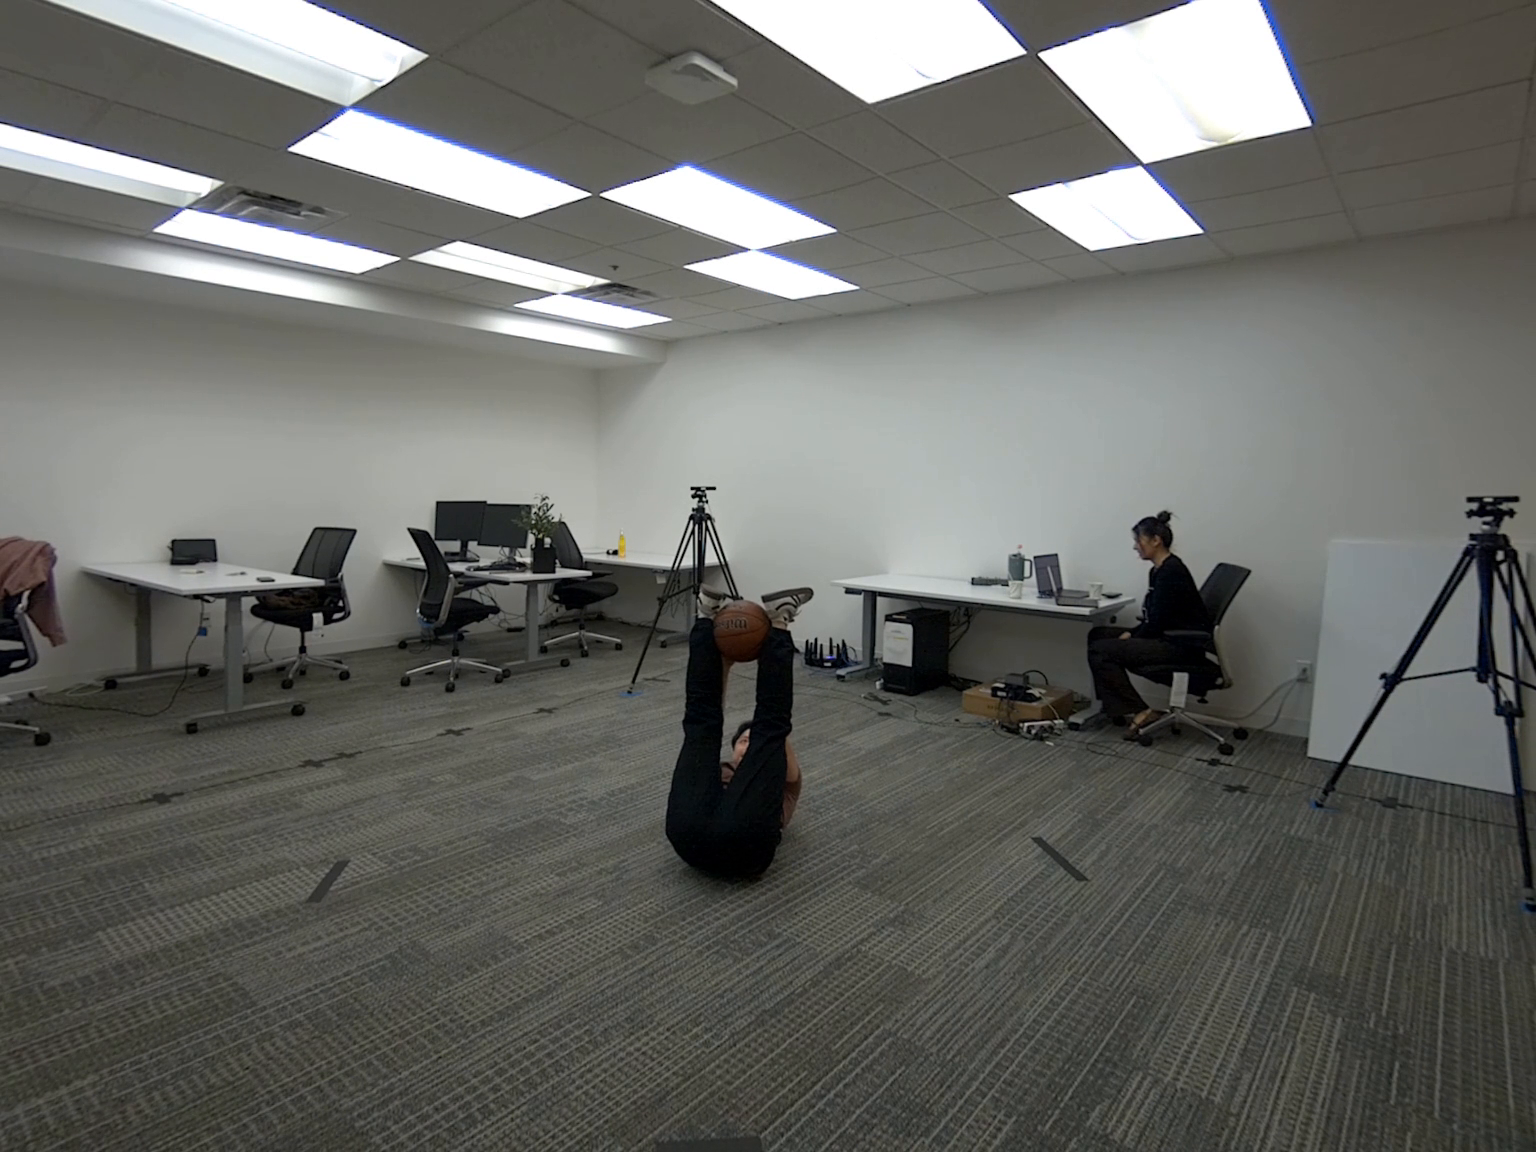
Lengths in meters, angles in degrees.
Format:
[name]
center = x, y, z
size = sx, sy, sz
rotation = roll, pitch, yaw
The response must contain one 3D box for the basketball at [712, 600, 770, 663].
[basketball]
center = -0.109, 0.205, 3.225
size = 0.236, 0.235, 0.237
rotation = -3, 3, -2
